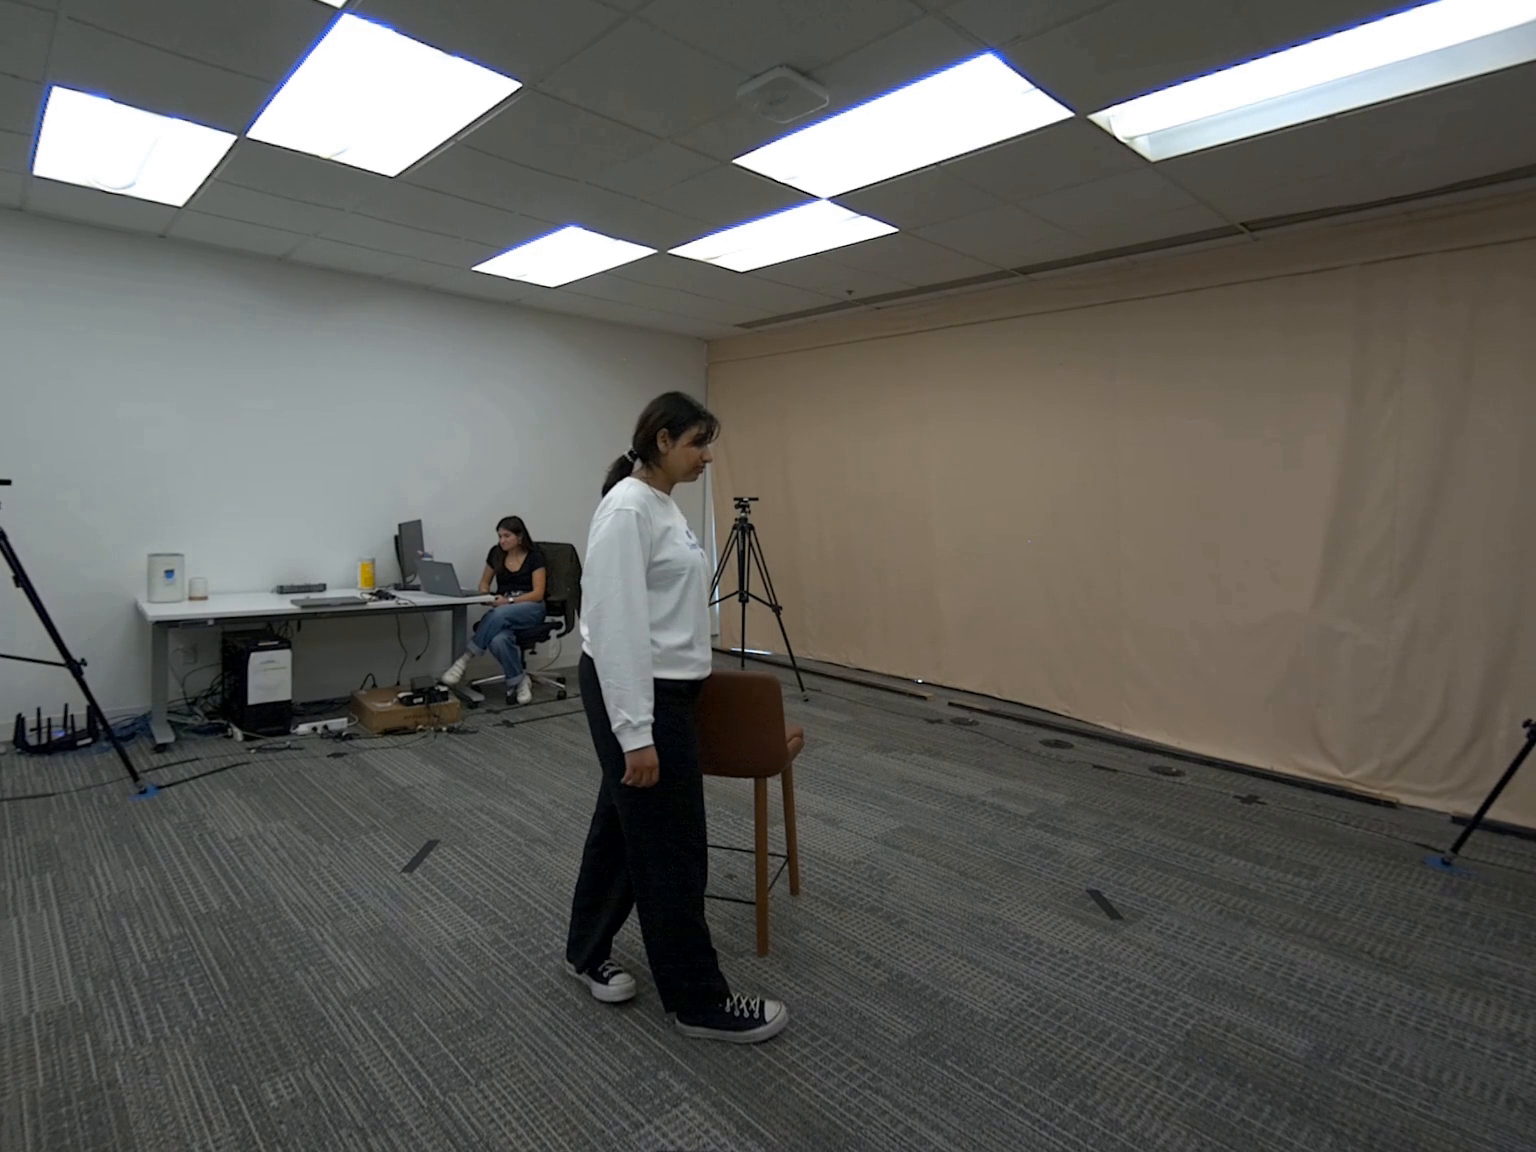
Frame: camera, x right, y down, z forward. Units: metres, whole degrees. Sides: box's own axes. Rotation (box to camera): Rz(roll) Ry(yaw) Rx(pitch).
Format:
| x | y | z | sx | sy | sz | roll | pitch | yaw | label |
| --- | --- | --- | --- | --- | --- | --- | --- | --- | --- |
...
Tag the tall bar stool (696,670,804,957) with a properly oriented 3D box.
| x | y | z | sx | sy | sz | roll | pitch | yaw | label |
| --- | --- | --- | --- | --- | --- | --- | --- | --- | --- |
| -0.132 | 0.701 | 2.789 | 0.462 | 0.886 | 0.463 | 2 | 6 | 15 | tall bar stool |
